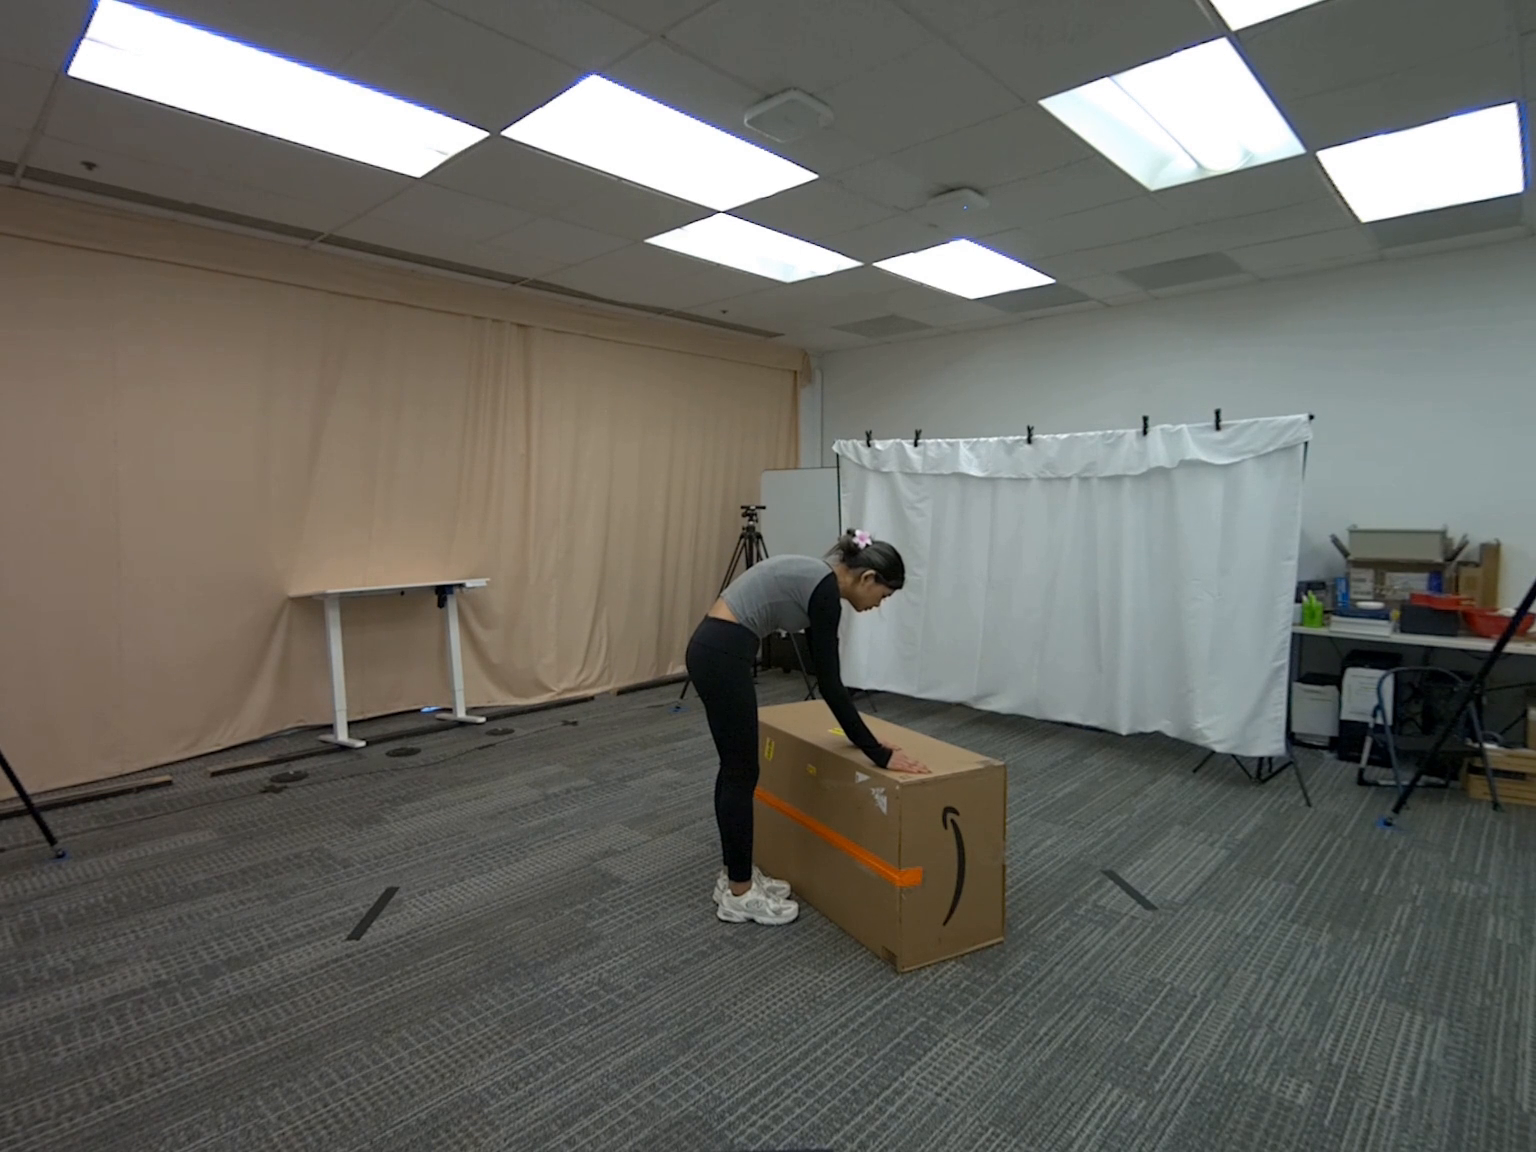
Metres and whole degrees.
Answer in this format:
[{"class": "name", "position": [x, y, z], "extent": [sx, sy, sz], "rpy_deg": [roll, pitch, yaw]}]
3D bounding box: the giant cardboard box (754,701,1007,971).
[{"class": "giant cardboard box", "position": [0.321, 0.849, 3.033], "extent": [0.415, 0.576, 1.055], "rpy_deg": [-2, 4, -29]}]
